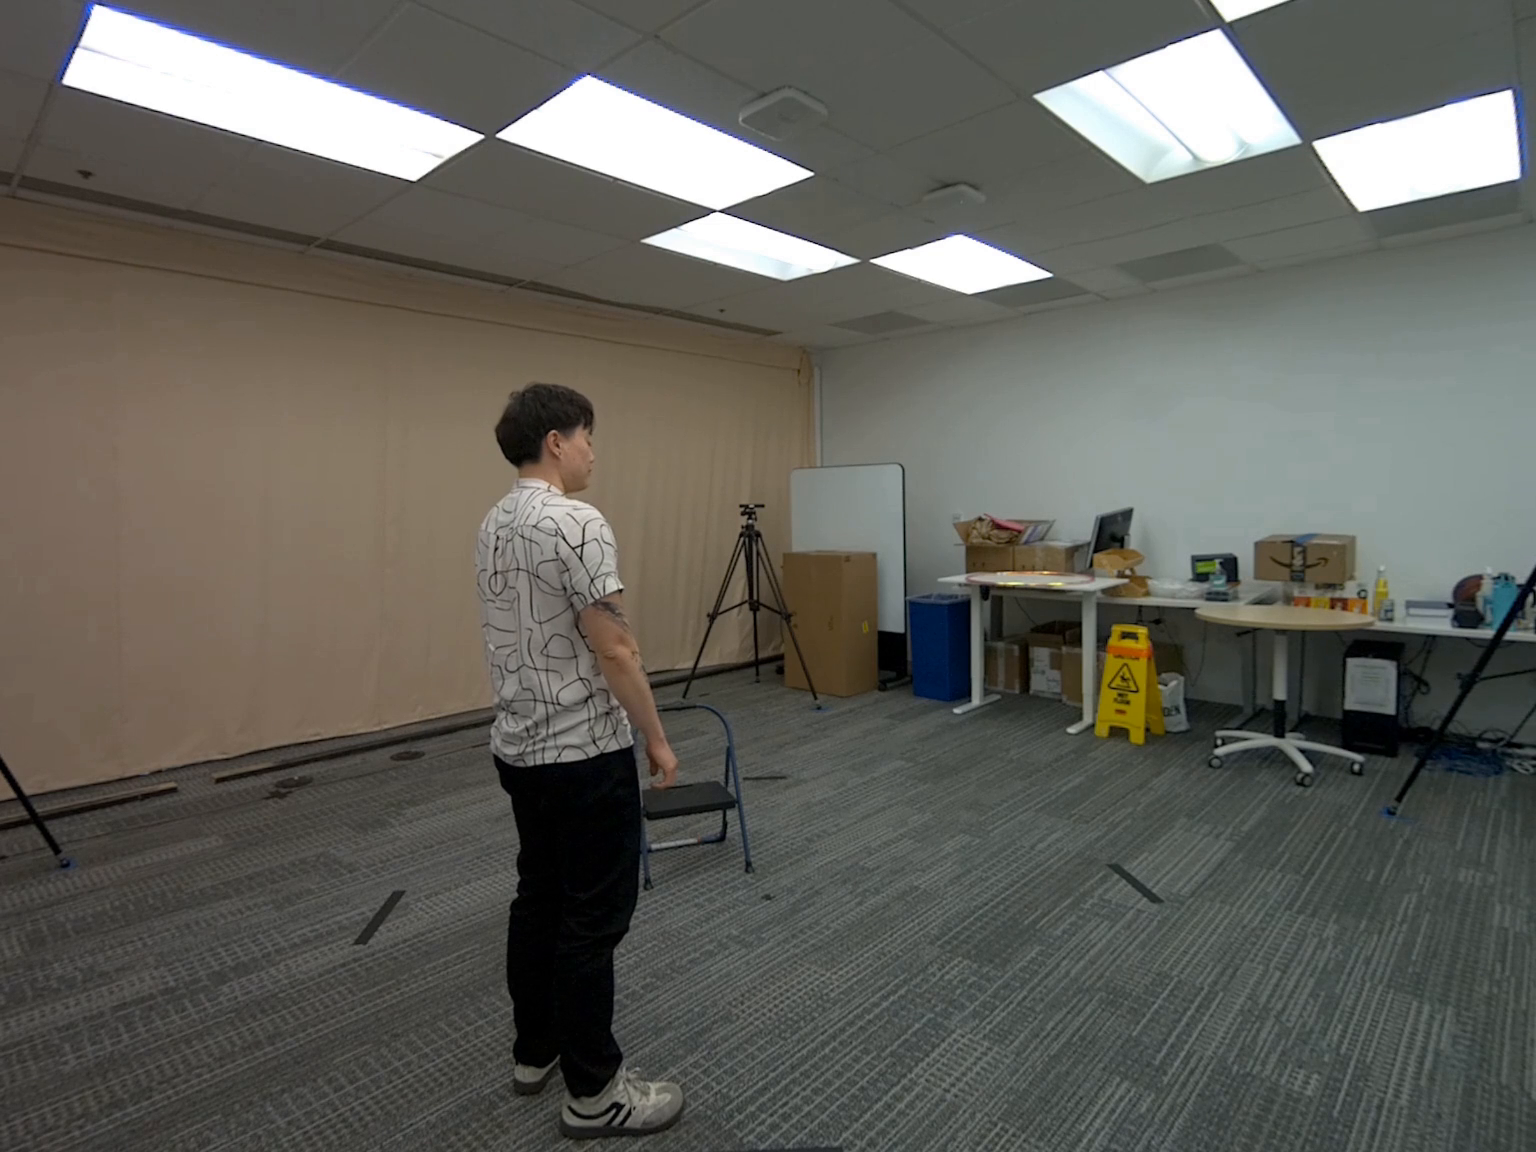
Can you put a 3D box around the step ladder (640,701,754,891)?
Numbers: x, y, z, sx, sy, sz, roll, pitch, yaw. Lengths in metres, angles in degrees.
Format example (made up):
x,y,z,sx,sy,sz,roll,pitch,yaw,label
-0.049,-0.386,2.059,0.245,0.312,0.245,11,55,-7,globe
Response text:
x,y,z,sx,sy,sz,roll,pitch,yaw,label
-0.315,0.818,3.276,0.422,0.605,0.357,-2,3,-20,step ladder
